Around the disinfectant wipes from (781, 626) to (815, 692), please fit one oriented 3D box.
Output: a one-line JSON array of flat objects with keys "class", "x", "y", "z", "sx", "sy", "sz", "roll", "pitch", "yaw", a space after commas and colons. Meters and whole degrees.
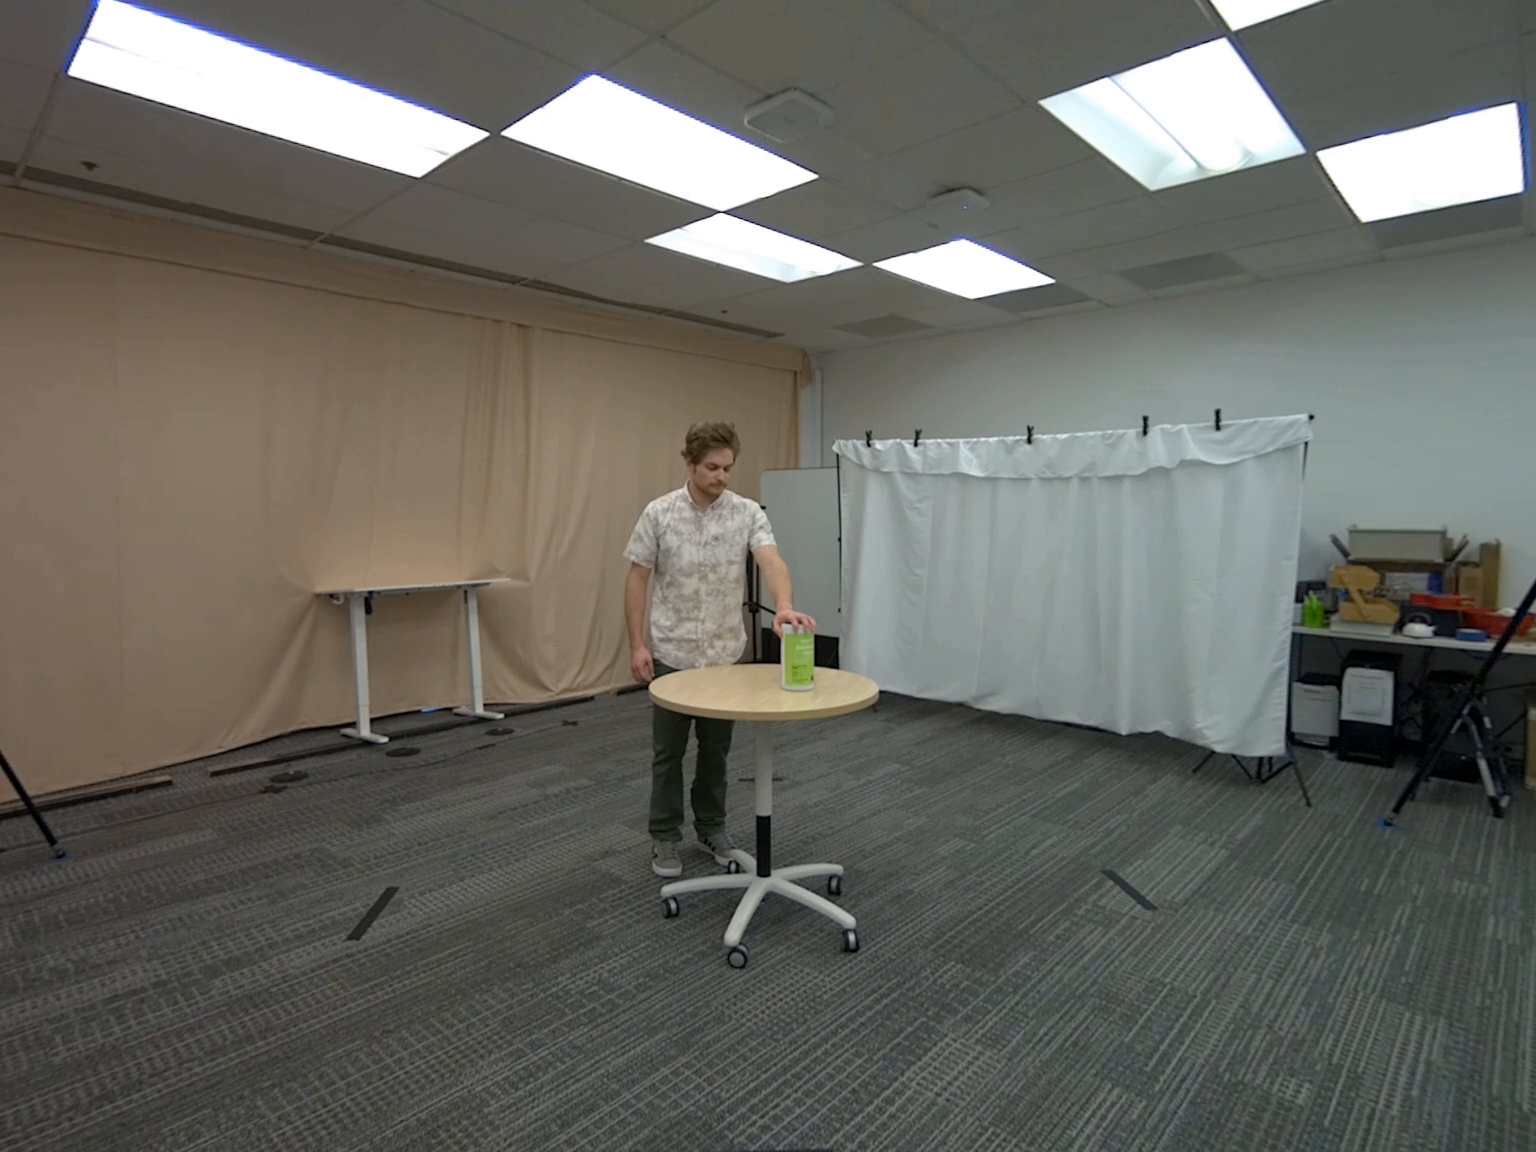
[{"class": "disinfectant wipes", "x": 0.101, "y": 0.266, "z": 2.764, "sx": 0.117, "sy": 0.217, "sz": 0.118, "roll": 1, "pitch": 4, "yaw": -2}]
